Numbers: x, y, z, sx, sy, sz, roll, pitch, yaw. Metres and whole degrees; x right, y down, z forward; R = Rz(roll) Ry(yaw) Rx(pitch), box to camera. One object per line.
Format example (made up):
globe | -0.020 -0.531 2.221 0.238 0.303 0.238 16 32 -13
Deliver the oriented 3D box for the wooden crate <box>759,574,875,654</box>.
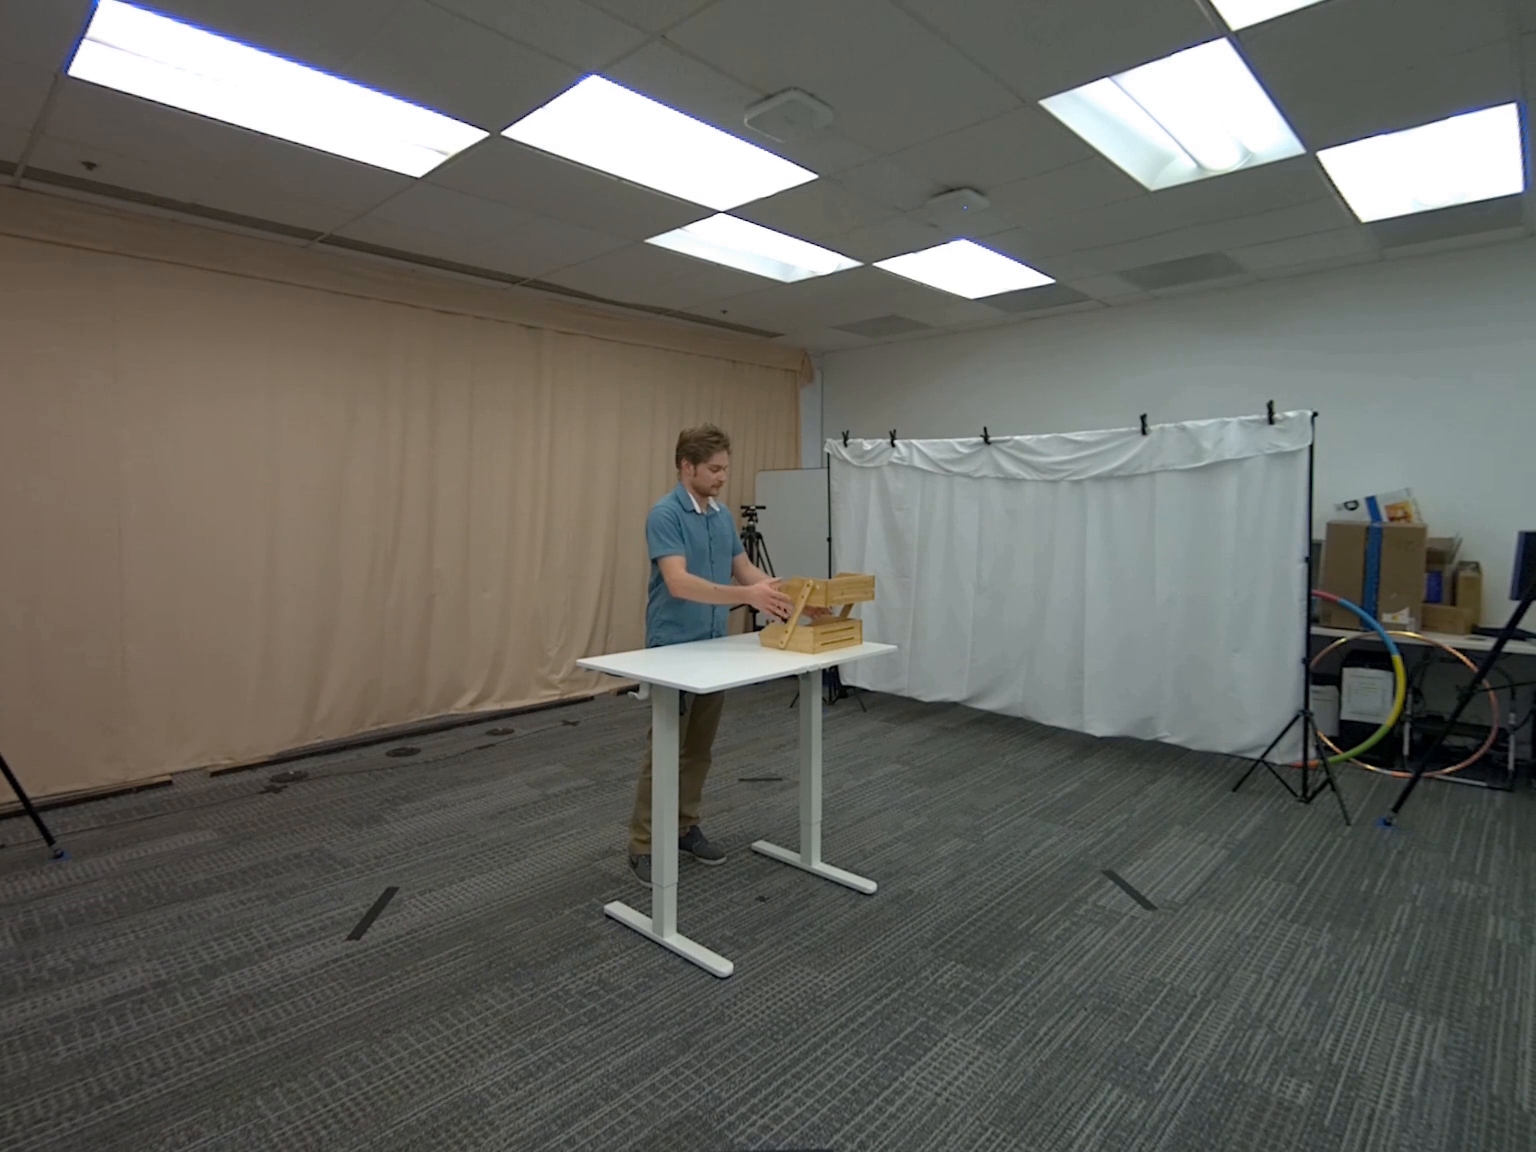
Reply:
wooden crate | 0.179 0.122 3.057 0.312 0.272 0.314 4 6 42
